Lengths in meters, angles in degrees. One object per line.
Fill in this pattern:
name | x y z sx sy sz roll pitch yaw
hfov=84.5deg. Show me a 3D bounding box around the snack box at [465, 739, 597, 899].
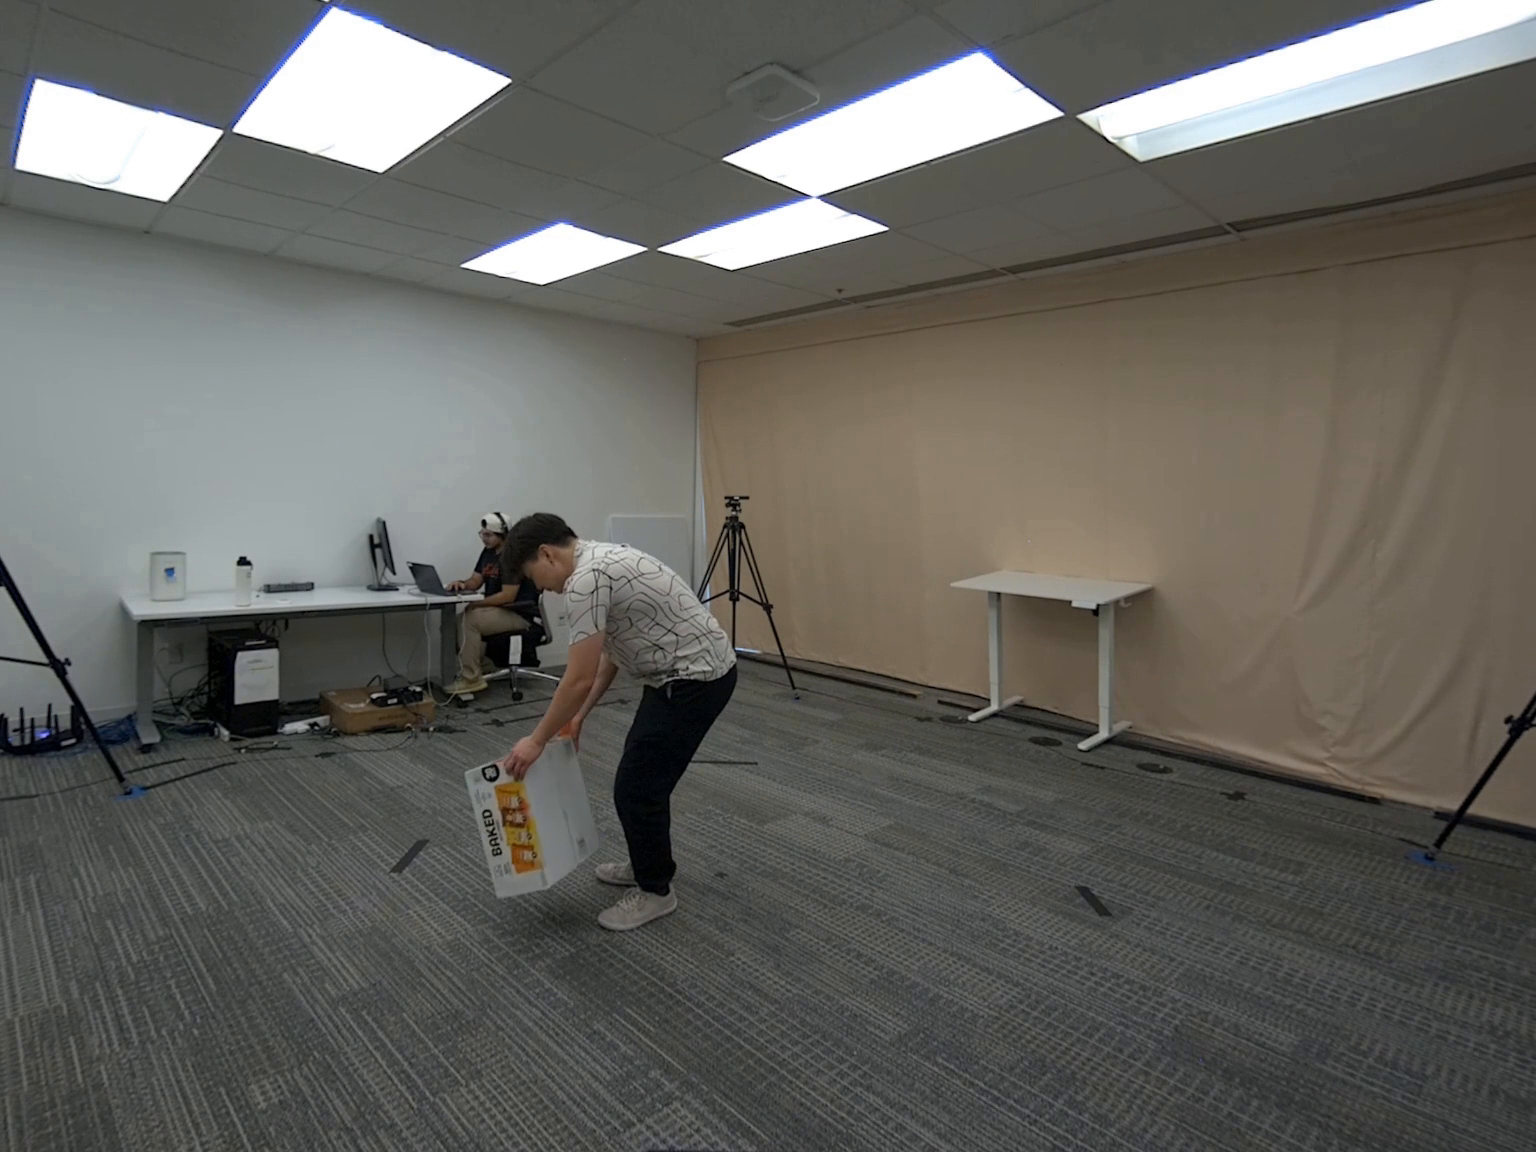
snack box | -0.768 0.773 2.753 0.207 0.407 0.336 -16 -4 16
